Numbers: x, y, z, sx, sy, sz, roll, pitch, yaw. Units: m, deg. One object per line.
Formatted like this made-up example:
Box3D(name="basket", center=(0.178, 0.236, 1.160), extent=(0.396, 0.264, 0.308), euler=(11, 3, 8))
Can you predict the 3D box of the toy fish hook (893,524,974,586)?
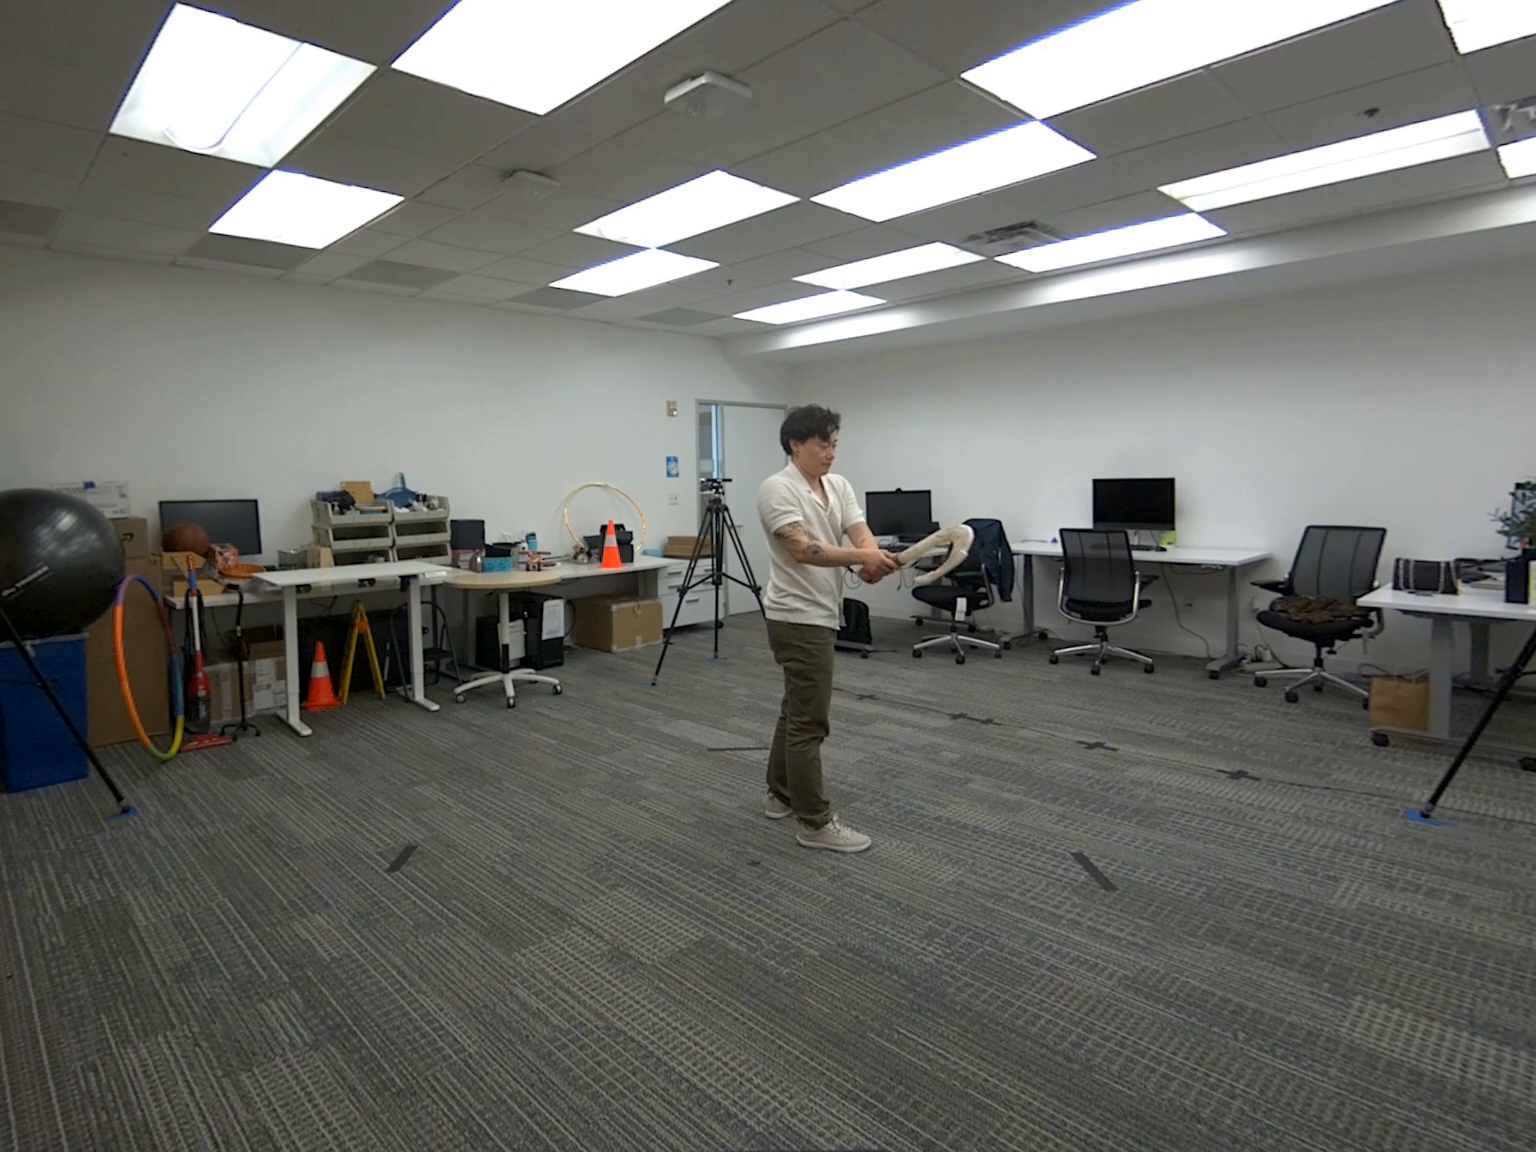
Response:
Box3D(name="toy fish hook", center=(0.468, -0.031, 2.825), extent=(0.513, 0.047, 0.226), euler=(-25, 27, 51))
